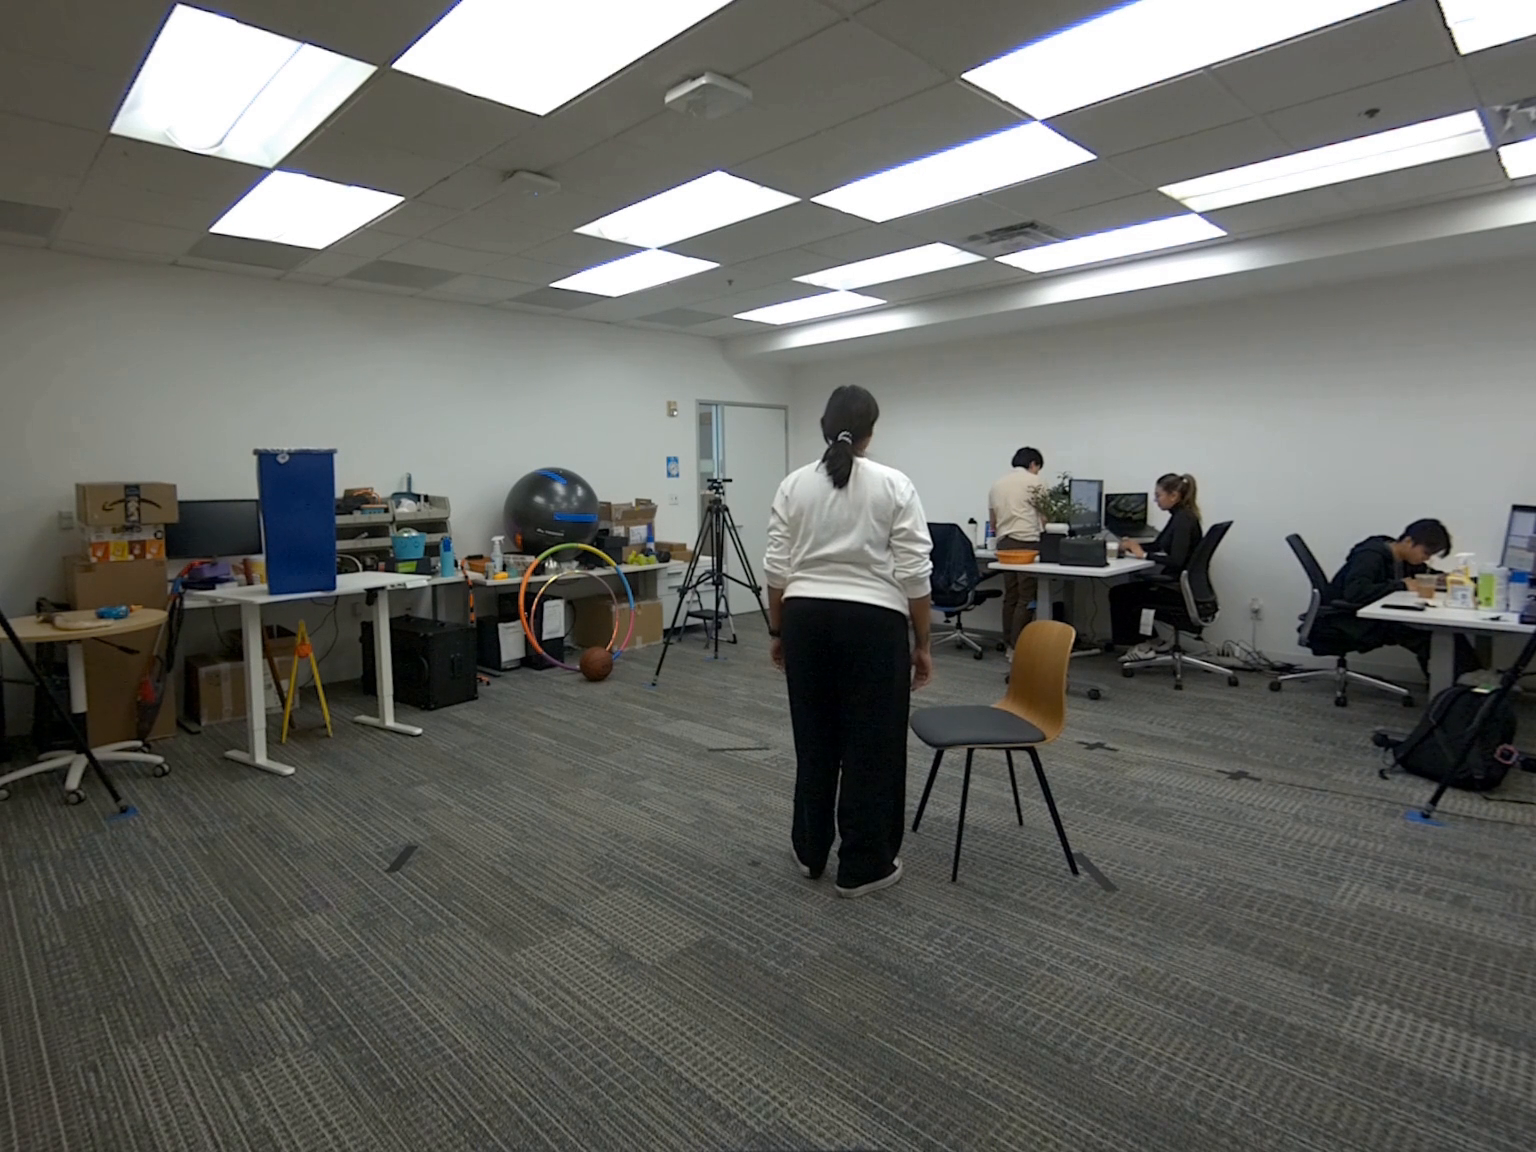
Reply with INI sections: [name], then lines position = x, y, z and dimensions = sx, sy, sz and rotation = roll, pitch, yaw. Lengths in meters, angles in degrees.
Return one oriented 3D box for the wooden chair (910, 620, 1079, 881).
[wooden chair]
position = 0.808, 0.596, 3.146
dimensions = 0.520, 0.874, 0.483
rotation = 3, 4, -7
